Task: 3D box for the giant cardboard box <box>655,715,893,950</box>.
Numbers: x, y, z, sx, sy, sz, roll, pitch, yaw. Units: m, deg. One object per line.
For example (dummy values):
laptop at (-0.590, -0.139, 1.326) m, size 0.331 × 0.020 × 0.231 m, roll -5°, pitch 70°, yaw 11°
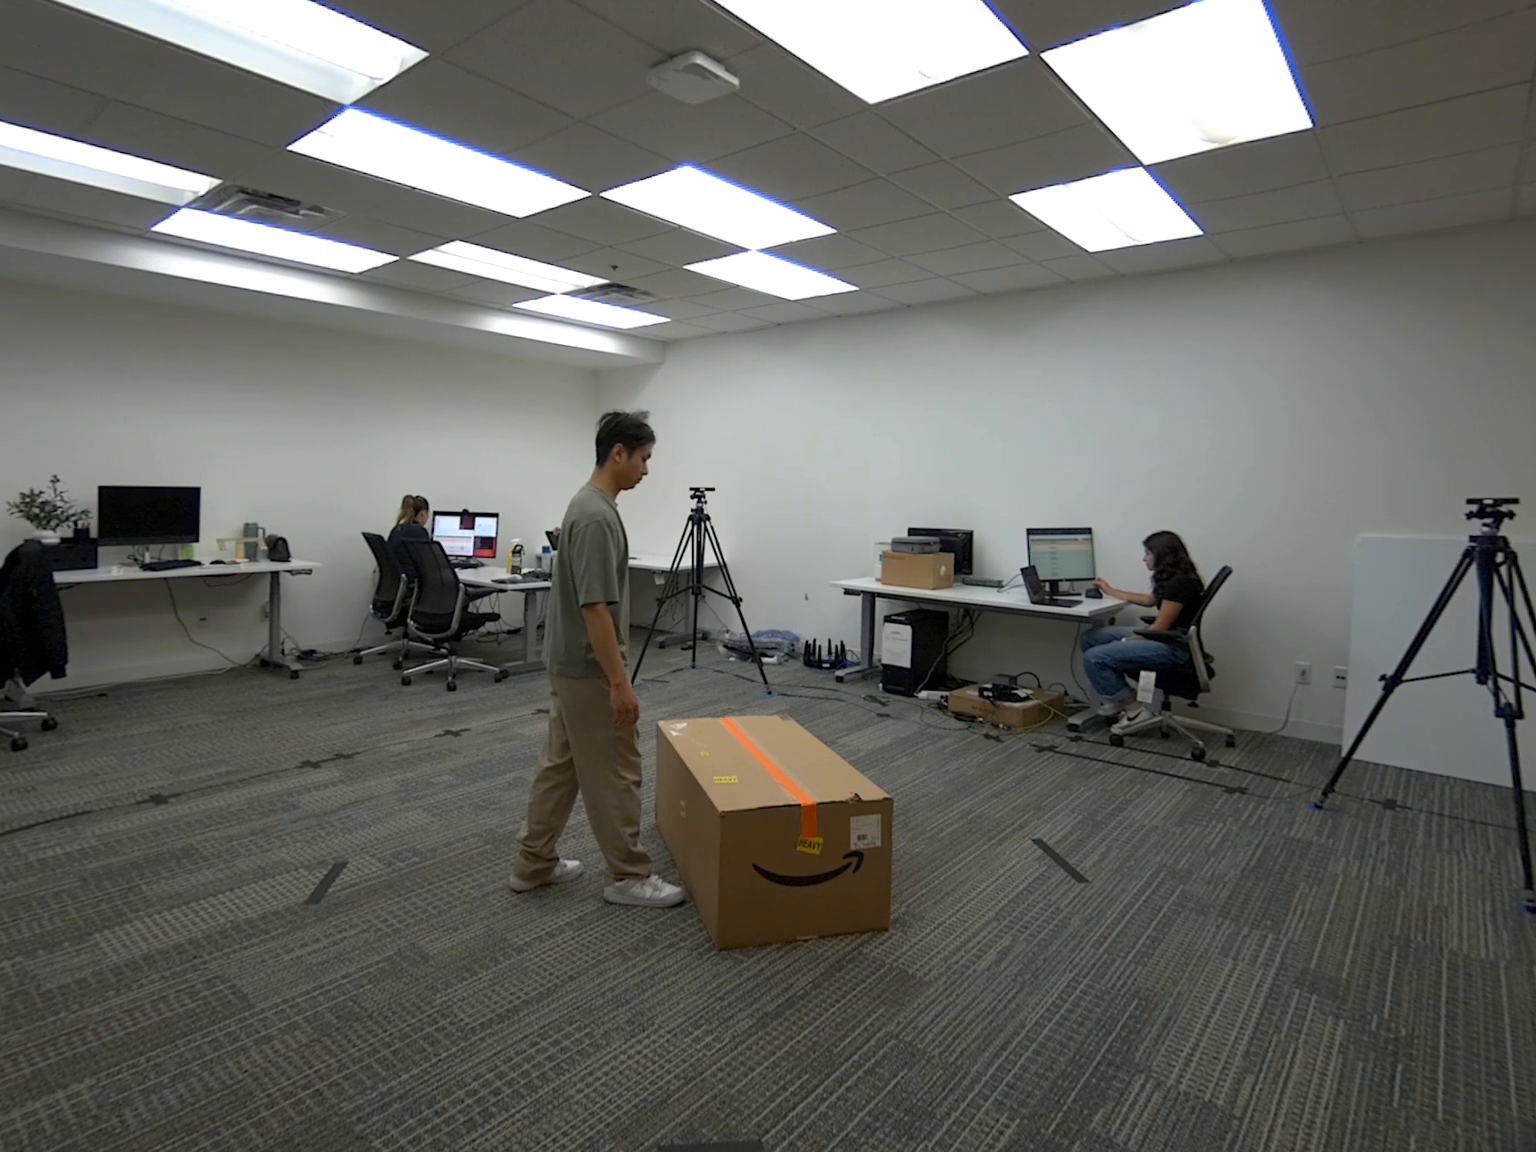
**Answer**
giant cardboard box at (-0.042, 0.852, 3.102) m, size 0.568 × 0.424 × 1.047 m, roll -1°, pitch 6°, yaw -17°
